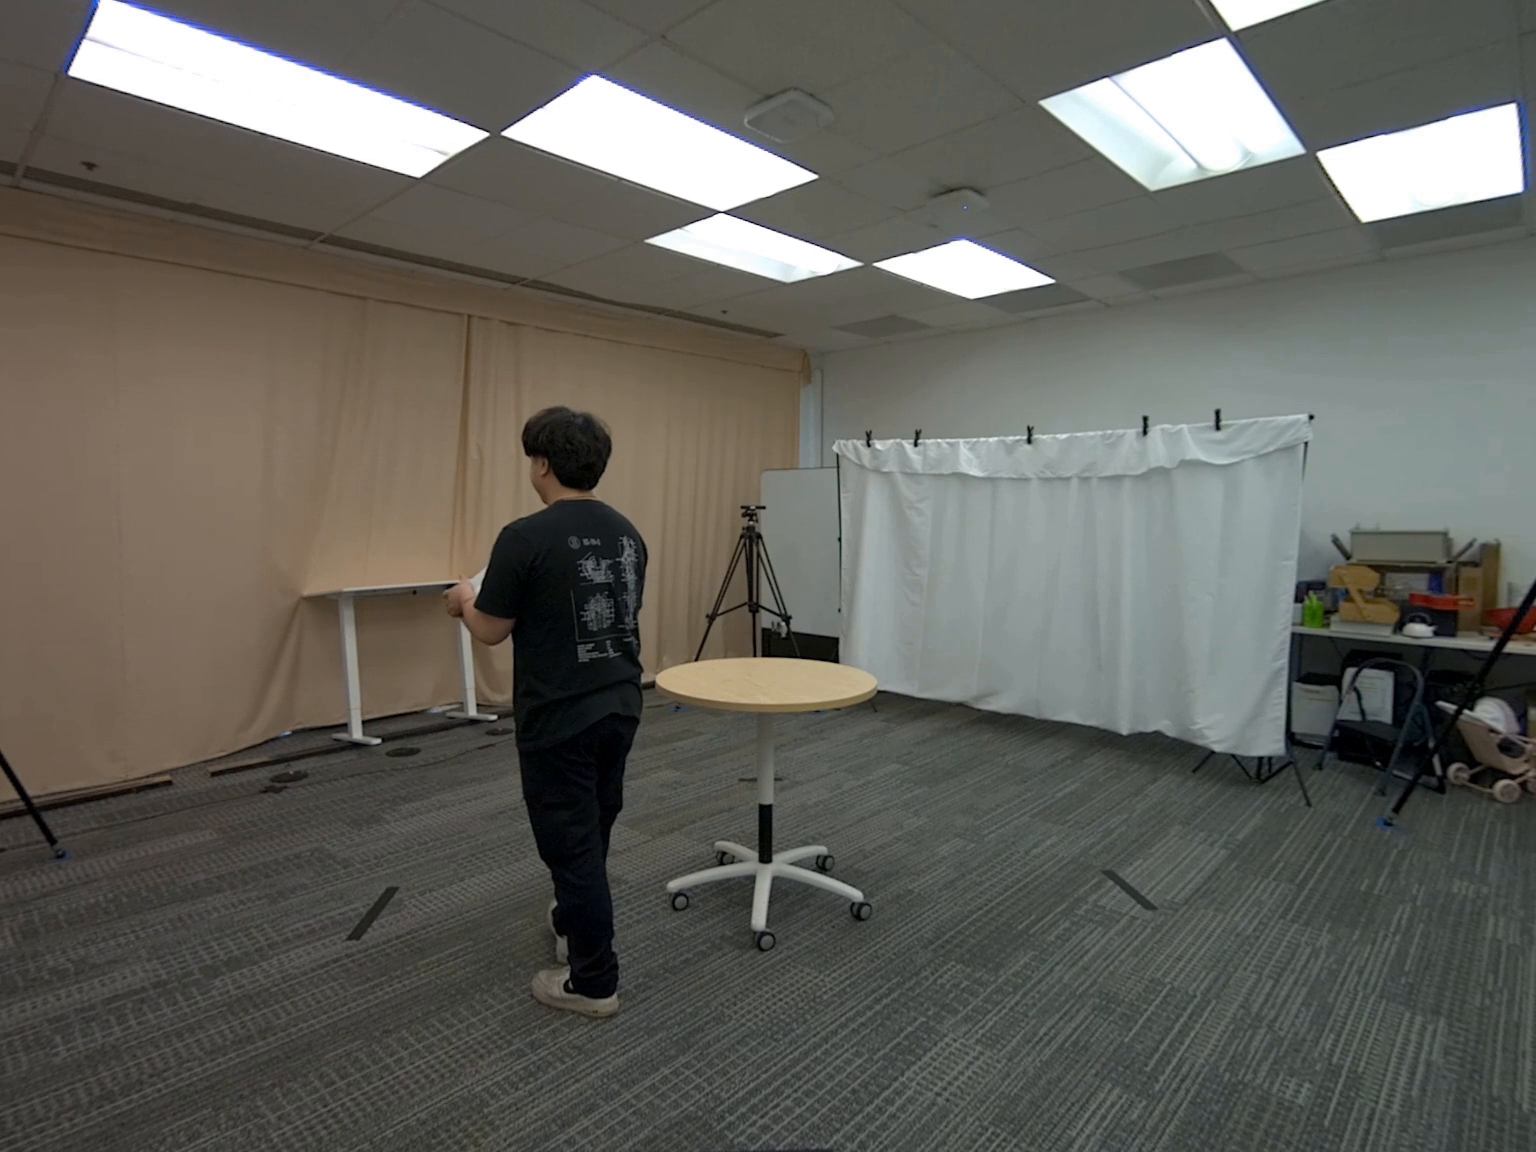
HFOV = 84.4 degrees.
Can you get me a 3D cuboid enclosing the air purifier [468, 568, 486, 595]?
[{"bbox_3d":[-0.845,0.060,2.628,0.263,0.166,0.178,-44,33,-25],"label":"air purifier"}]
